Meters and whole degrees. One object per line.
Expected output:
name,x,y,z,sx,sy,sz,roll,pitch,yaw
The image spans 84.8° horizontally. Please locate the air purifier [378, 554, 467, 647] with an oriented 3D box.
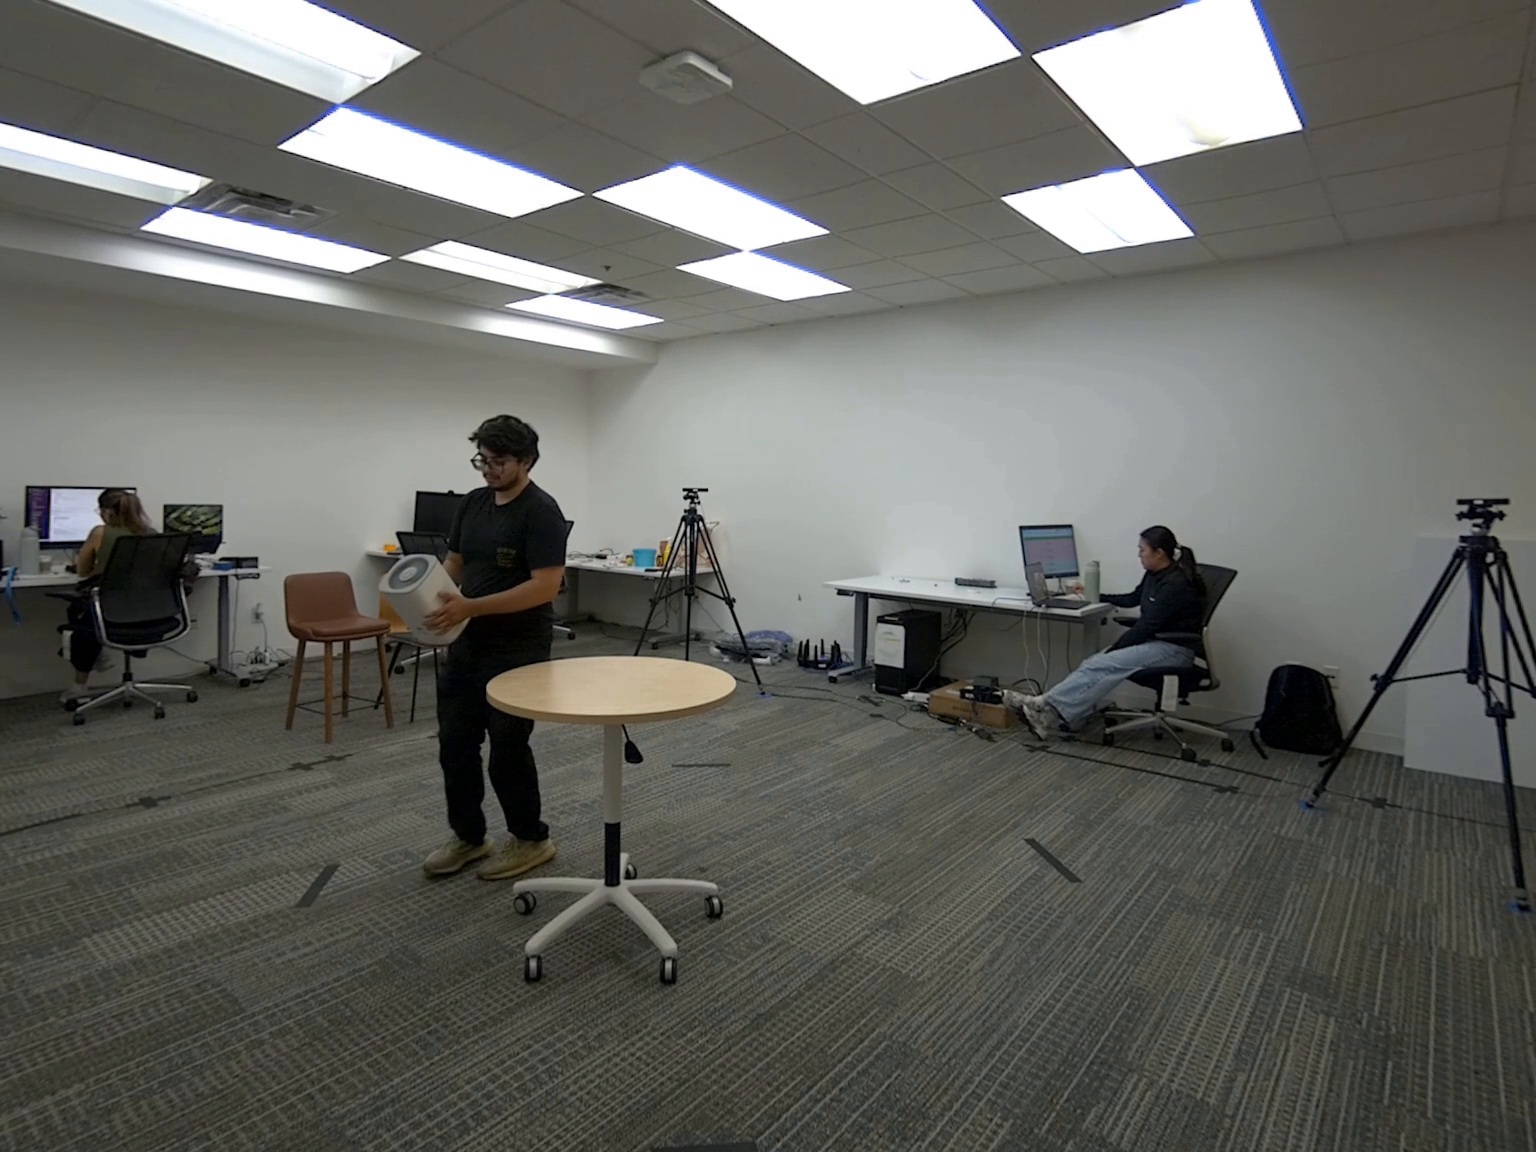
air purifier,-1.119,0.078,2.779,0.172,0.252,0.176,1,44,23
